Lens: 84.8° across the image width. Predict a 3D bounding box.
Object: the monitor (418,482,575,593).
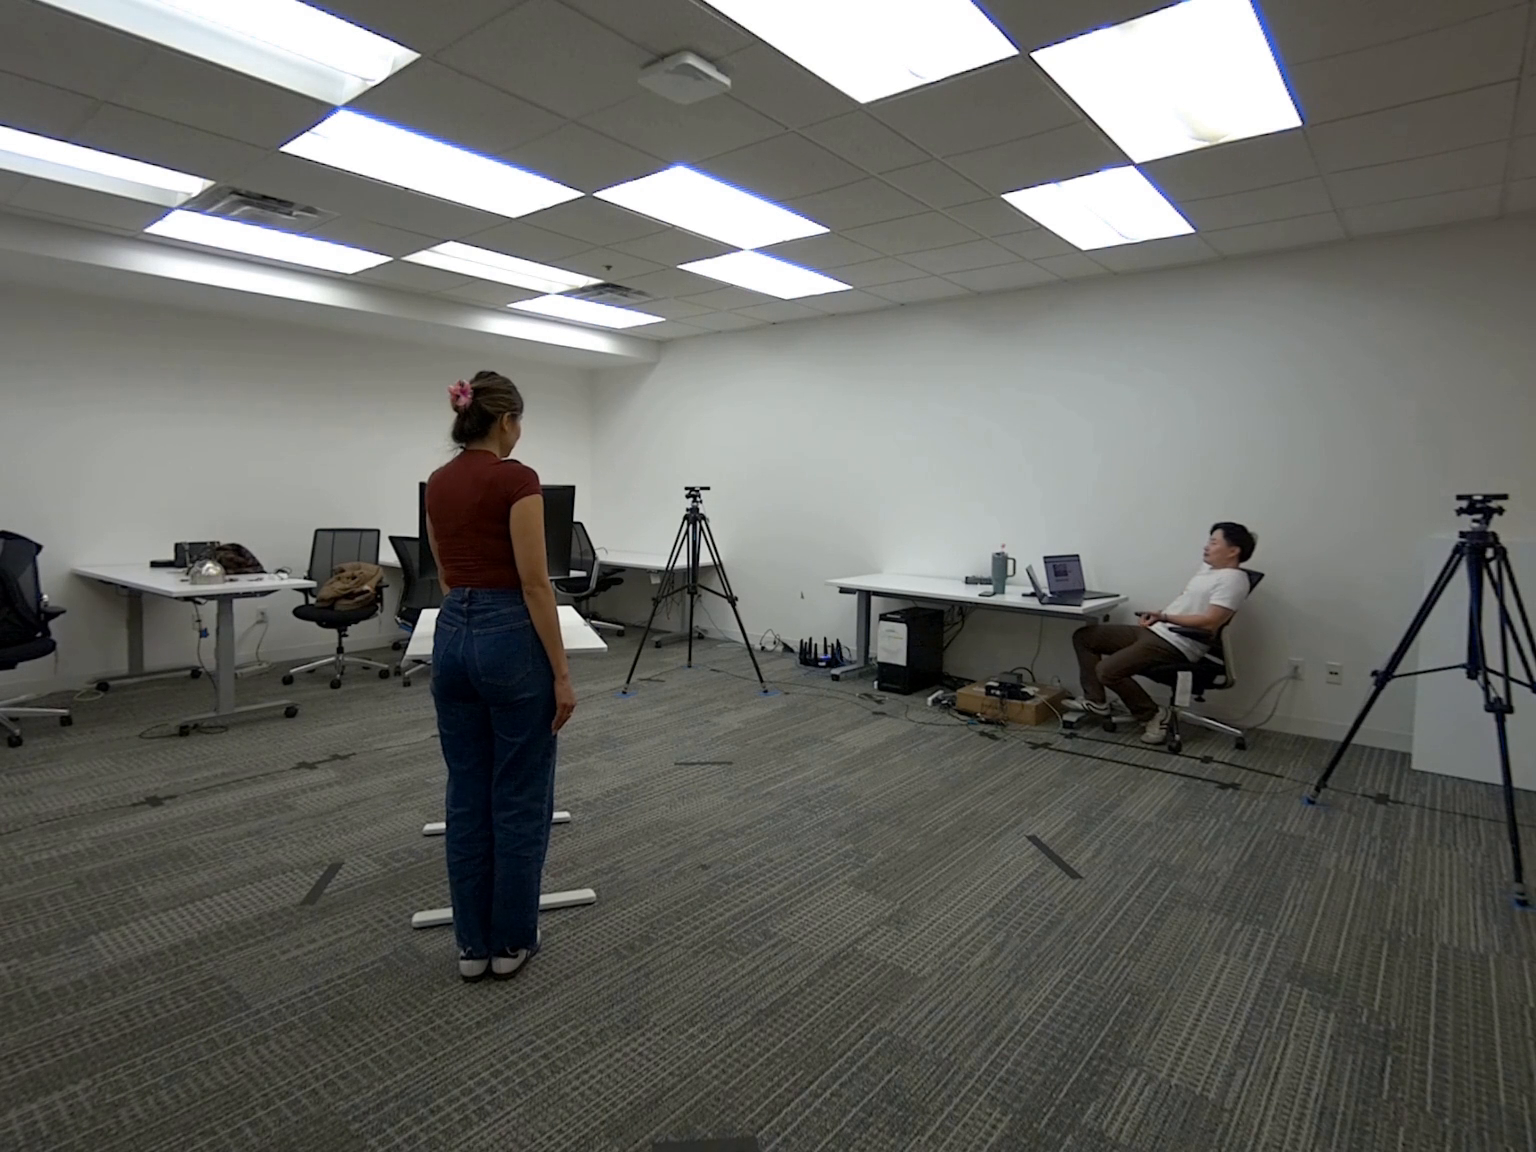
[{"bbox_3d":[-0.969,-0.071,3.003,0.527,0.520,0.192,0,5,-23],"label":"monitor"}]
